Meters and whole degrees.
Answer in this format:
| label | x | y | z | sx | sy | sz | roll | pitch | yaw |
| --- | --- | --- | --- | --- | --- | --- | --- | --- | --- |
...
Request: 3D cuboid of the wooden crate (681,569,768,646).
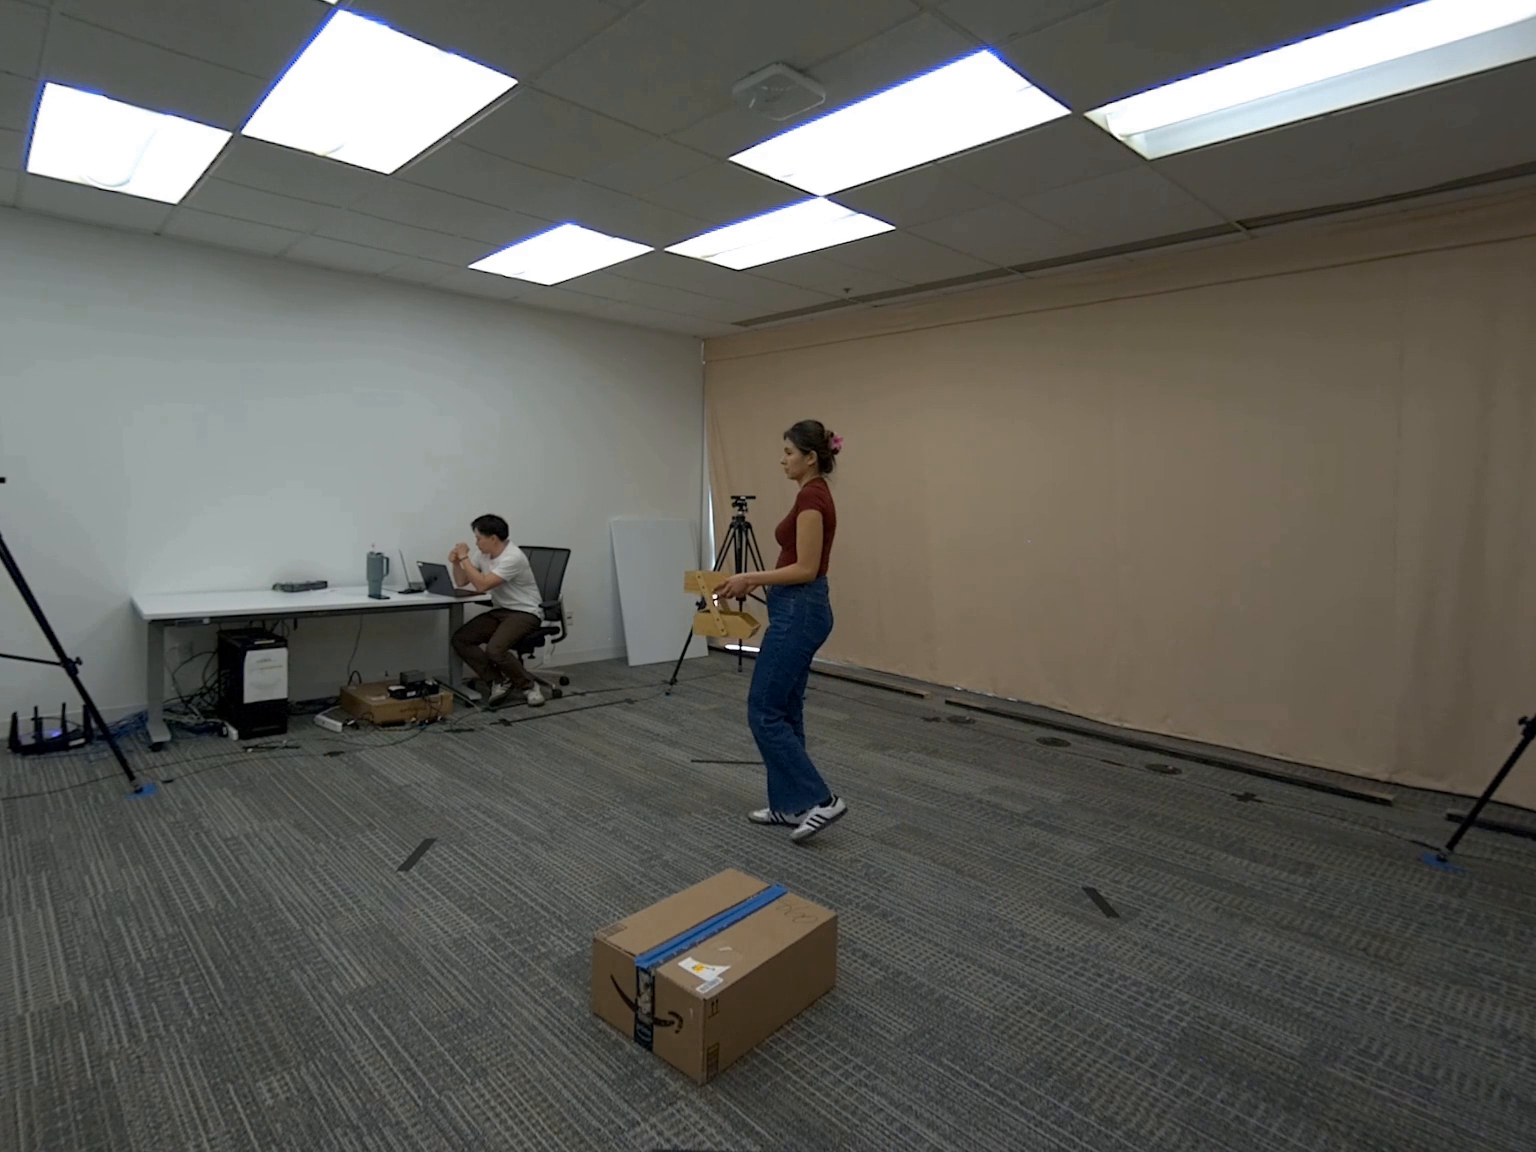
| label | x | y | z | sx | sy | sz | roll | pitch | yaw |
| --- | --- | --- | --- | --- | --- | --- | --- | --- | --- |
| wooden crate | -0.174 | 0.122 | 3.574 | 0.304 | 0.273 | 0.322 | 5 | 0 | 7 |
